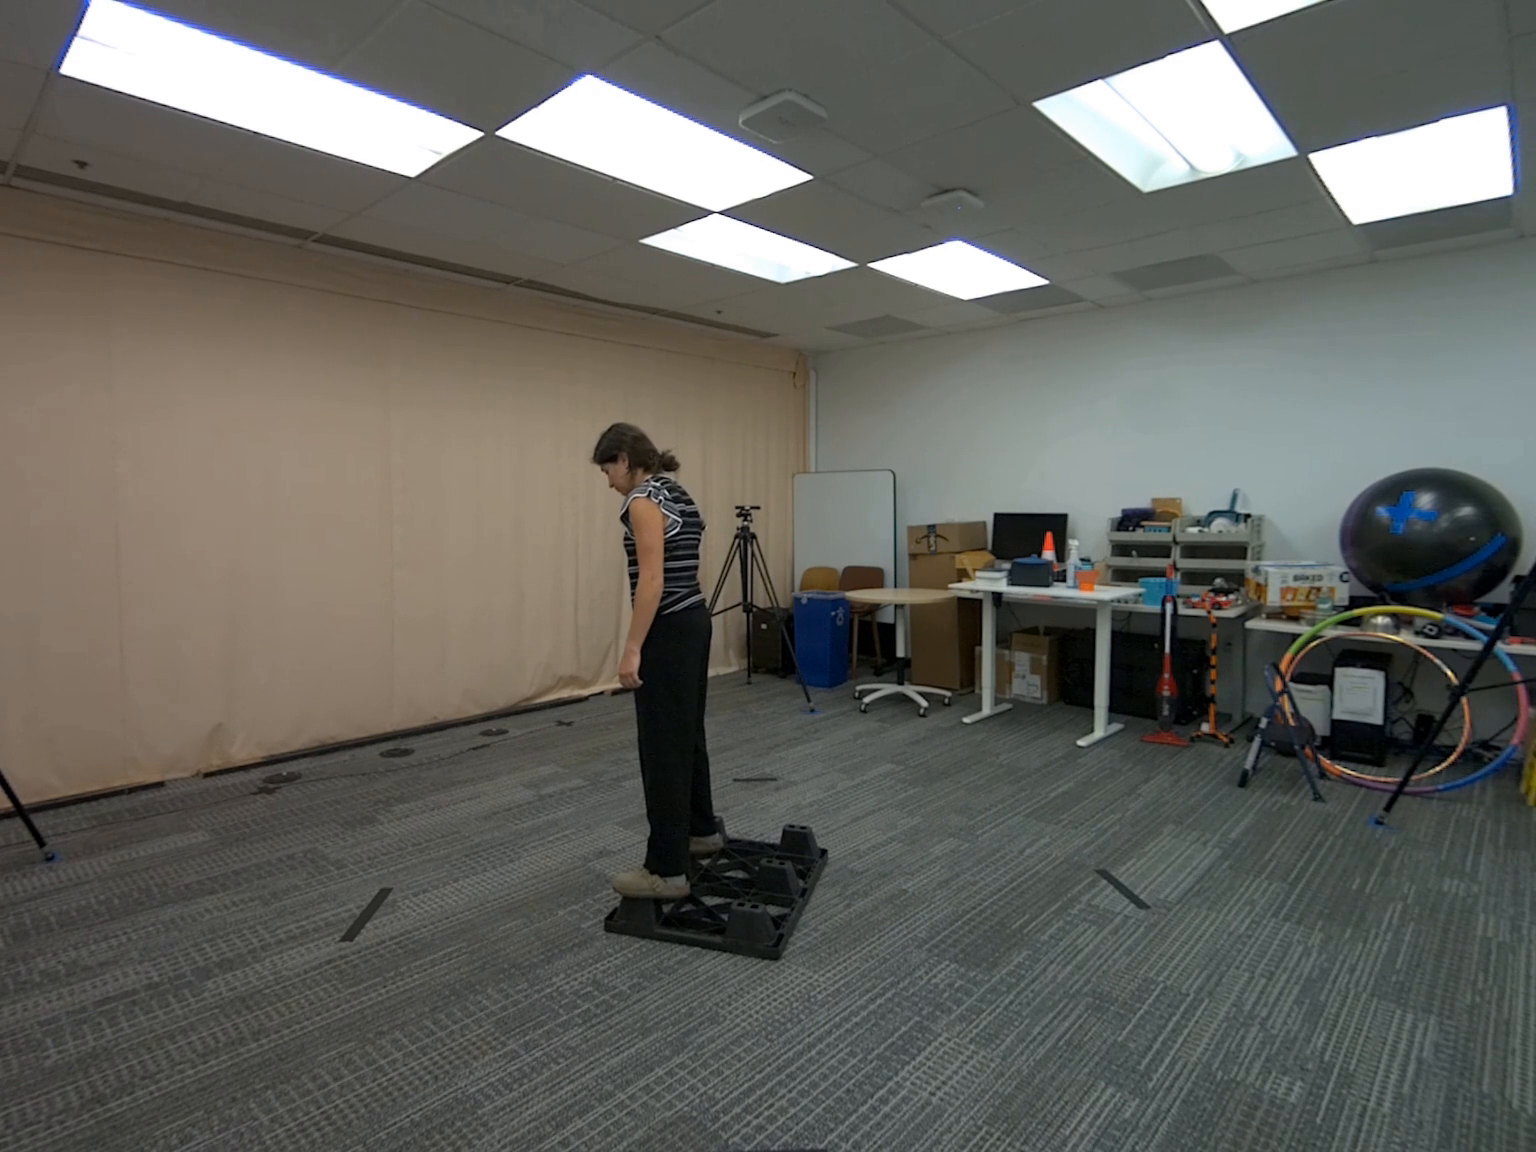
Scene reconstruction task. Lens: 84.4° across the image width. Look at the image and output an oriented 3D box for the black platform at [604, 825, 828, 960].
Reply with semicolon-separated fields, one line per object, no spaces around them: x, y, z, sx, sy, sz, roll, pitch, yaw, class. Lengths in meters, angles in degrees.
-0.146;1.075;3.033;0.616;0.143;0.793;0;5;16;black platform
